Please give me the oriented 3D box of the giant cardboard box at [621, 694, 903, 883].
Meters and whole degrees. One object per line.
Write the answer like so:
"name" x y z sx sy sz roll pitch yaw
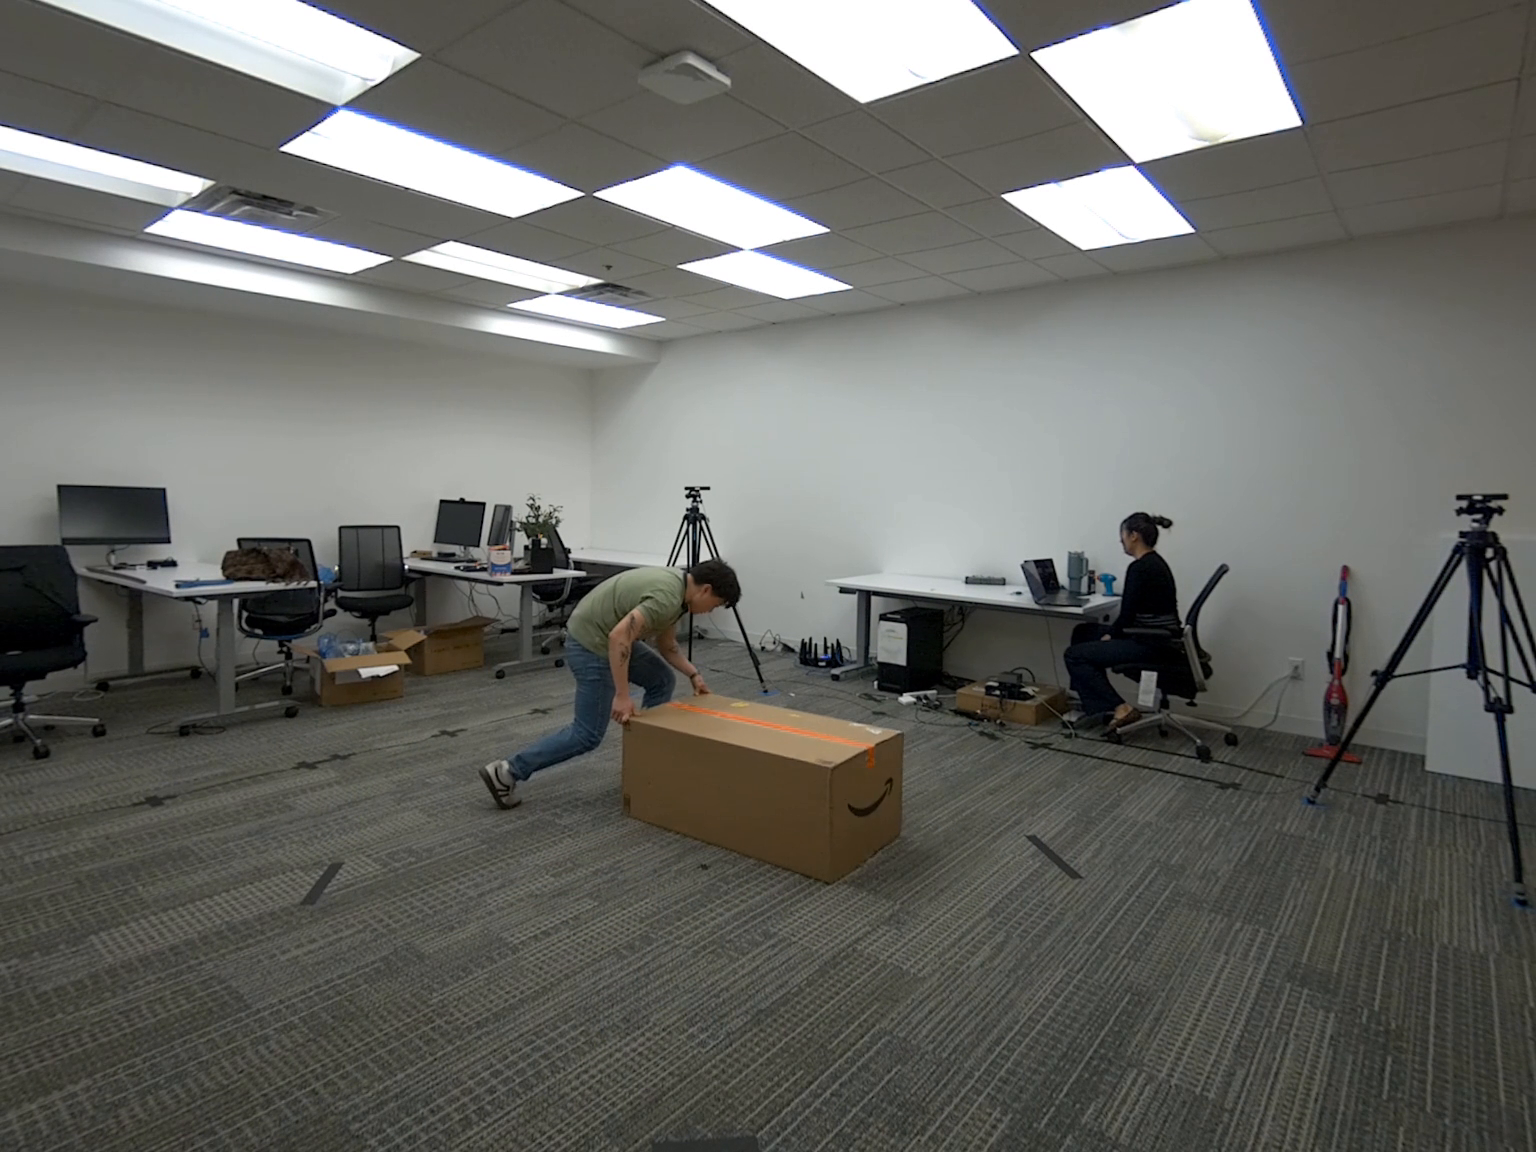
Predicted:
"giant cardboard box" -0.051 0.815 3.507 1.059 0.425 0.561 4 5 36
